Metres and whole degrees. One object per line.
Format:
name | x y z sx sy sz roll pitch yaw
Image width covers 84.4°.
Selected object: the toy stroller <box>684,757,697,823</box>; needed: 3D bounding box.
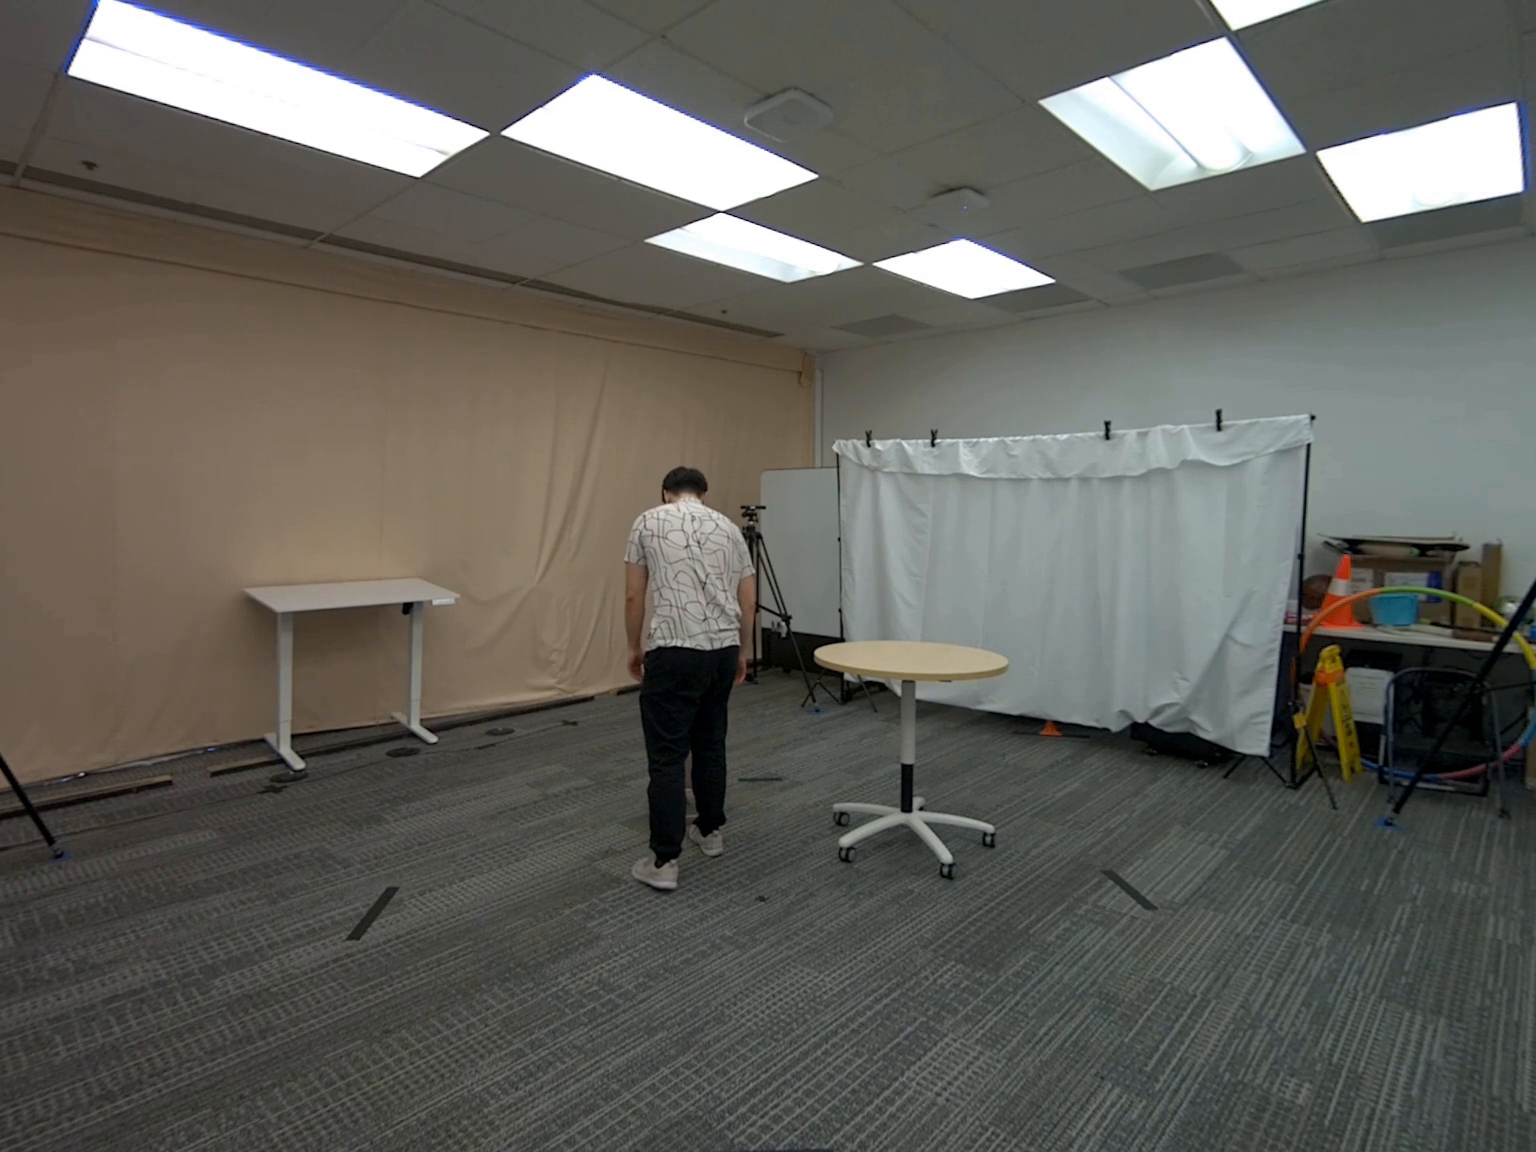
toy stroller | -0.363 0.858 3.773 0.281 0.529 0.345 0 19 -2
